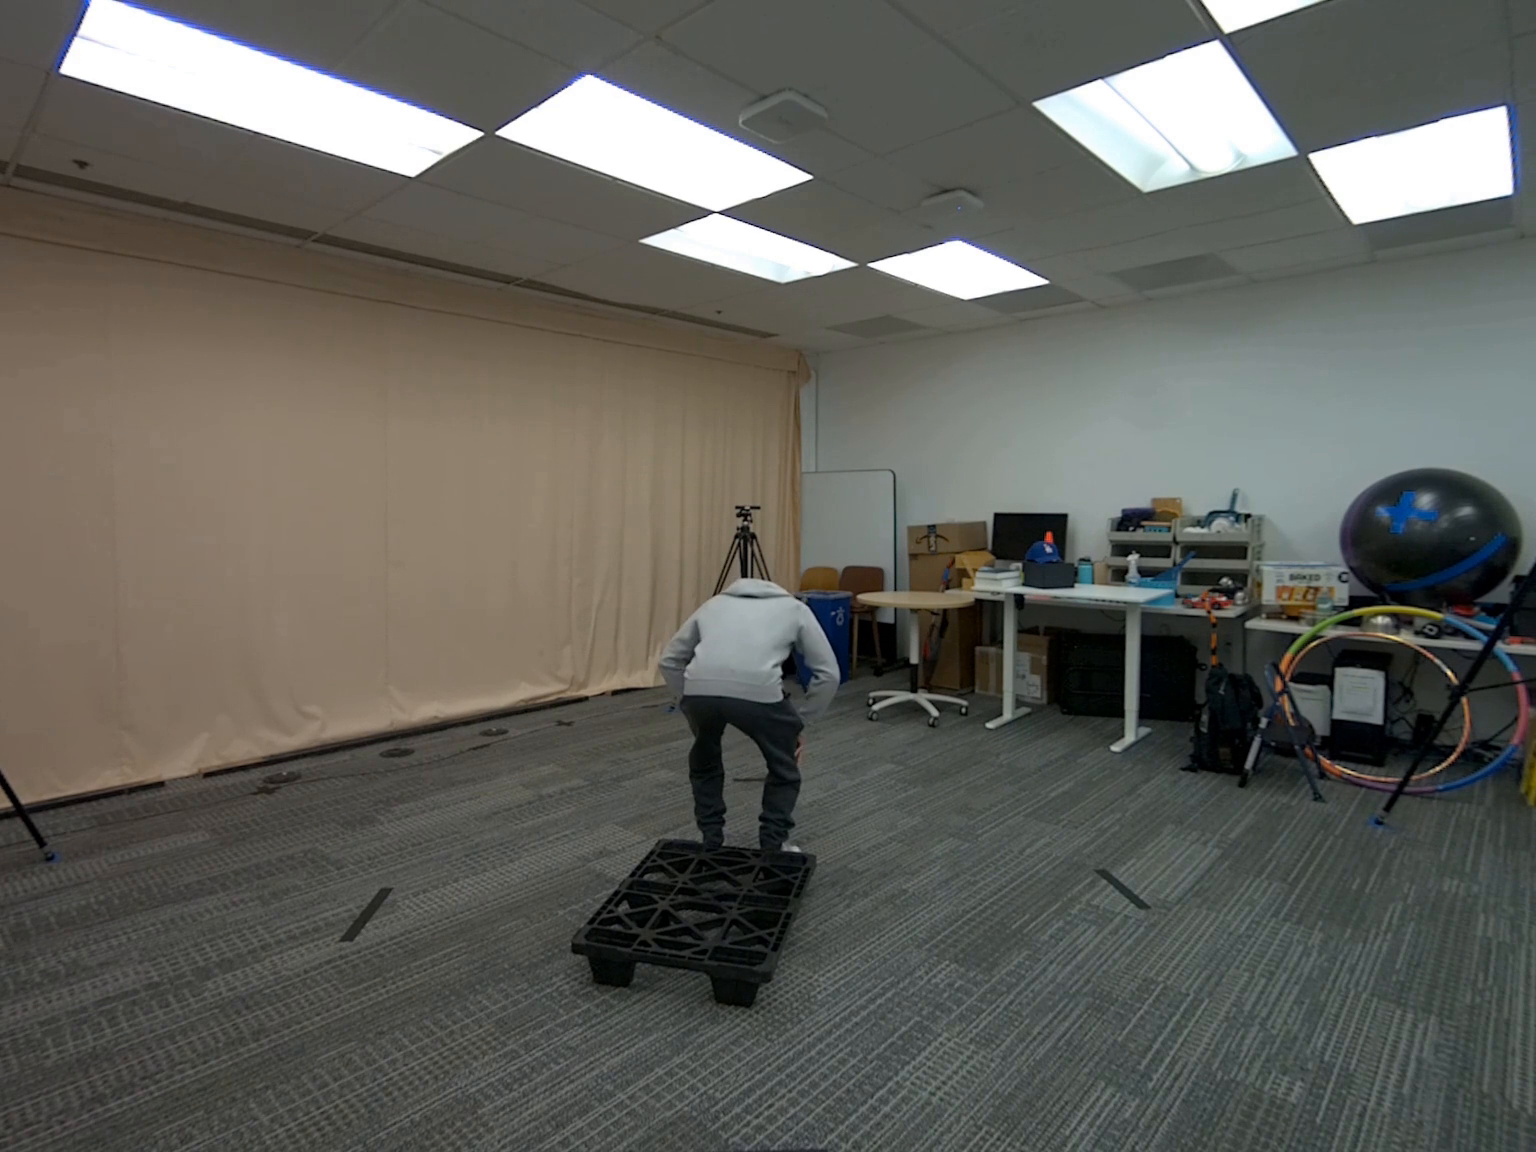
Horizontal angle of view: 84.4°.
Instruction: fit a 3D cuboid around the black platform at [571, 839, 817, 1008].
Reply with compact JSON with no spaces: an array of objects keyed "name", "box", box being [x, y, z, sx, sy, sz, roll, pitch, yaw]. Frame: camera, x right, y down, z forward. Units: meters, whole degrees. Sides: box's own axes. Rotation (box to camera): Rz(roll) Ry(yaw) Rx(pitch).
[{"name":"black platform","box":[-0.193,1.096,2.747,0.615,0.143,0.795,2,5,13]}]
